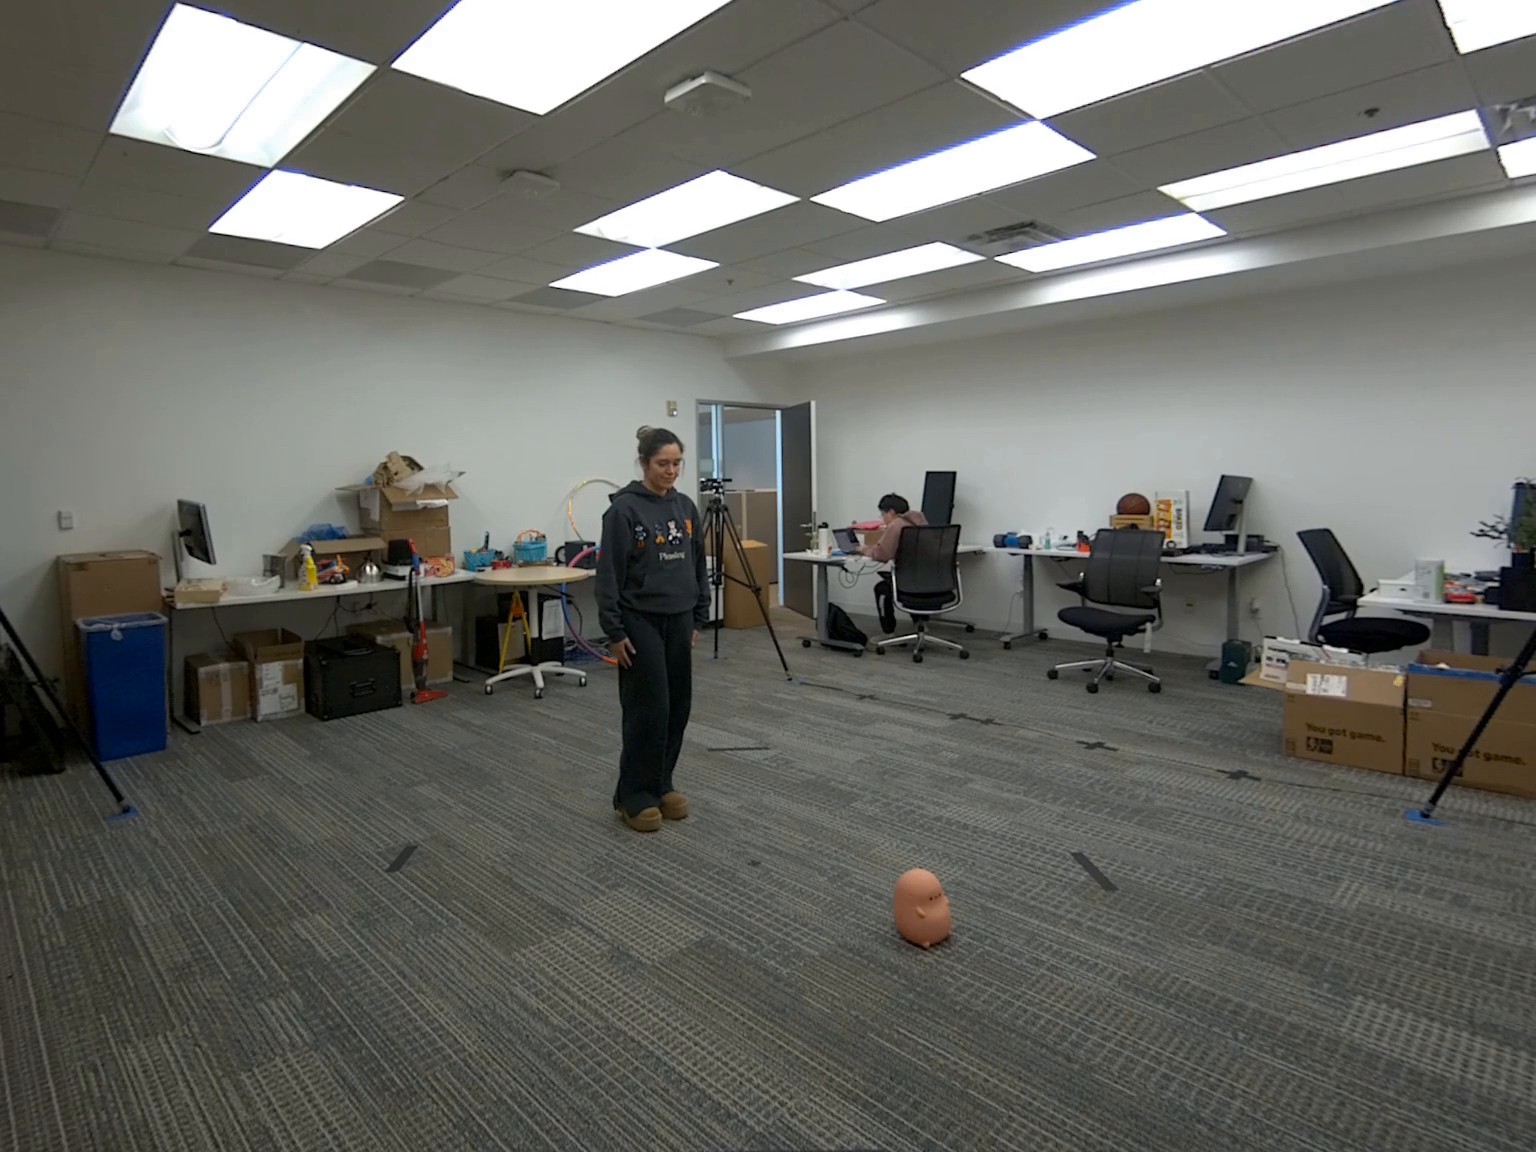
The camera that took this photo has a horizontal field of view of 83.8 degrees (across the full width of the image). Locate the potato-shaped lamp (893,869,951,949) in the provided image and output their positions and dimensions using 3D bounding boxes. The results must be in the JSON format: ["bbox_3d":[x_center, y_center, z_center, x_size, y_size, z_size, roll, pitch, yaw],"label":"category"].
[{"bbox_3d":[0.470,0.997,2.581,0.160,0.197,0.176,-4,4,-35],"label":"potato-shaped lamp"}]
